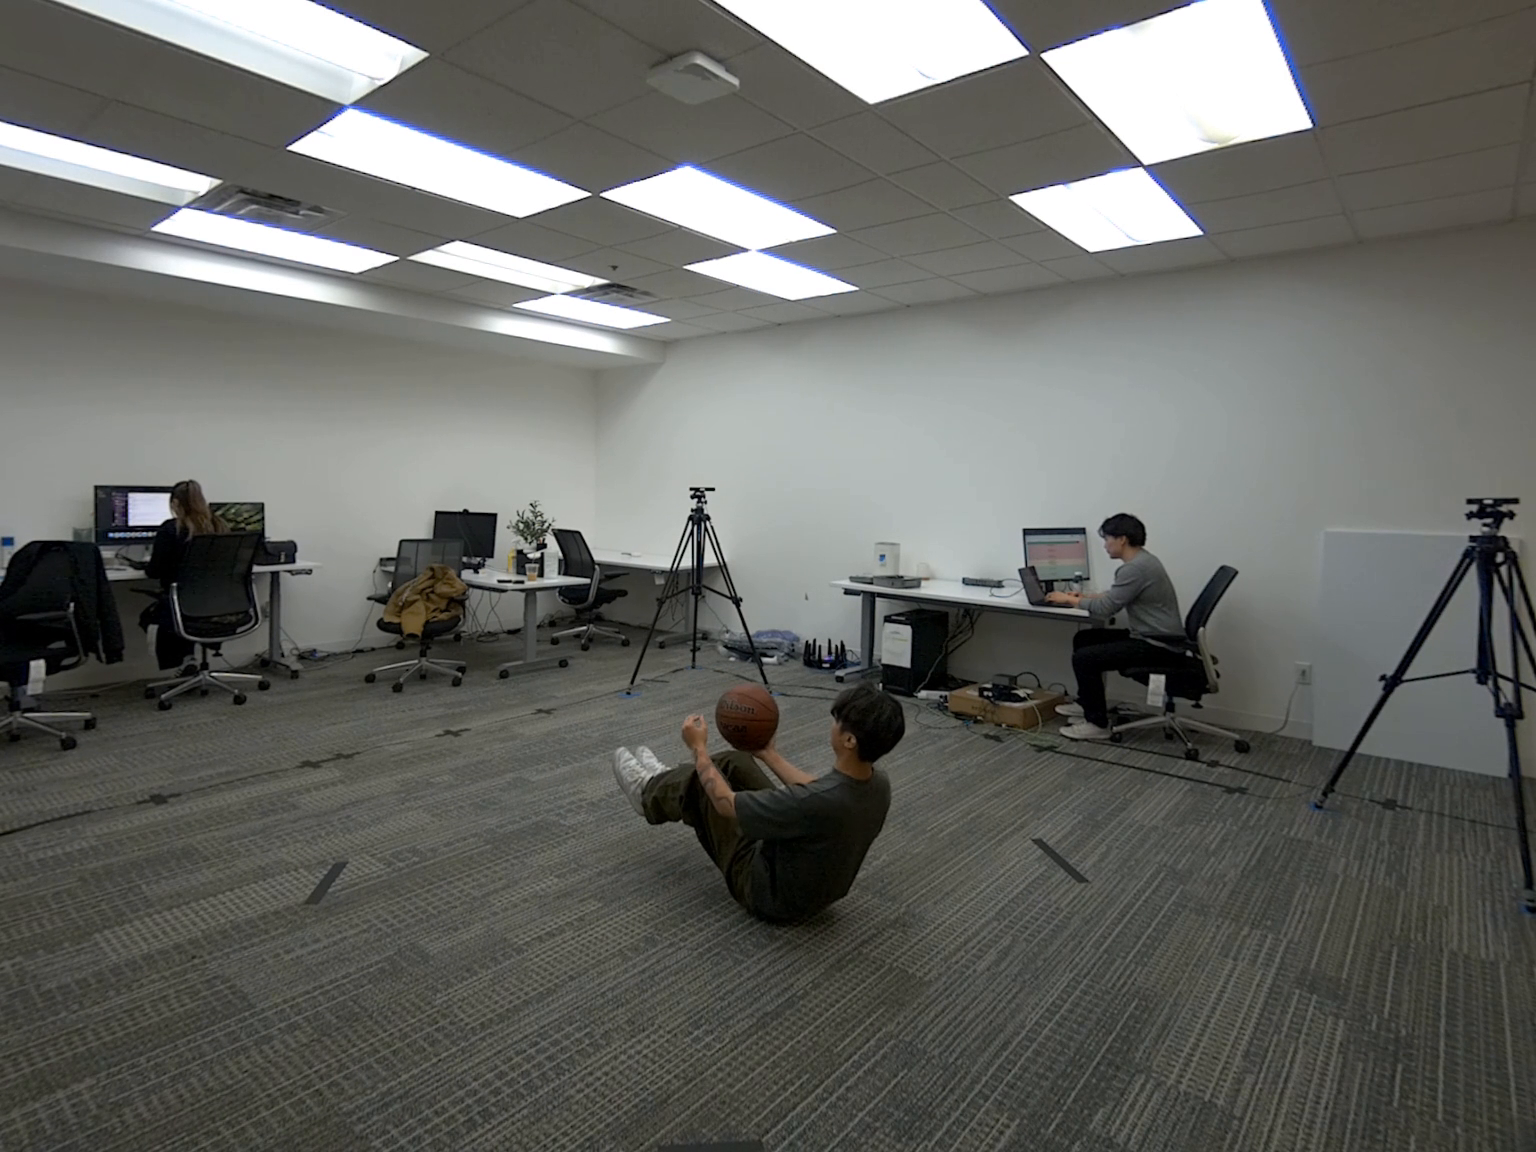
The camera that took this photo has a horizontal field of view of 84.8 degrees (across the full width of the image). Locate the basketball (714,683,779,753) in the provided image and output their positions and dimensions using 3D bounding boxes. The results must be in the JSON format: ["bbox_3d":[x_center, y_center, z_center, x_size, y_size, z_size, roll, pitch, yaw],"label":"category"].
[{"bbox_3d":[-0.087,0.526,3.164,0.235,0.235,0.237,1,4,-2],"label":"basketball"}]
